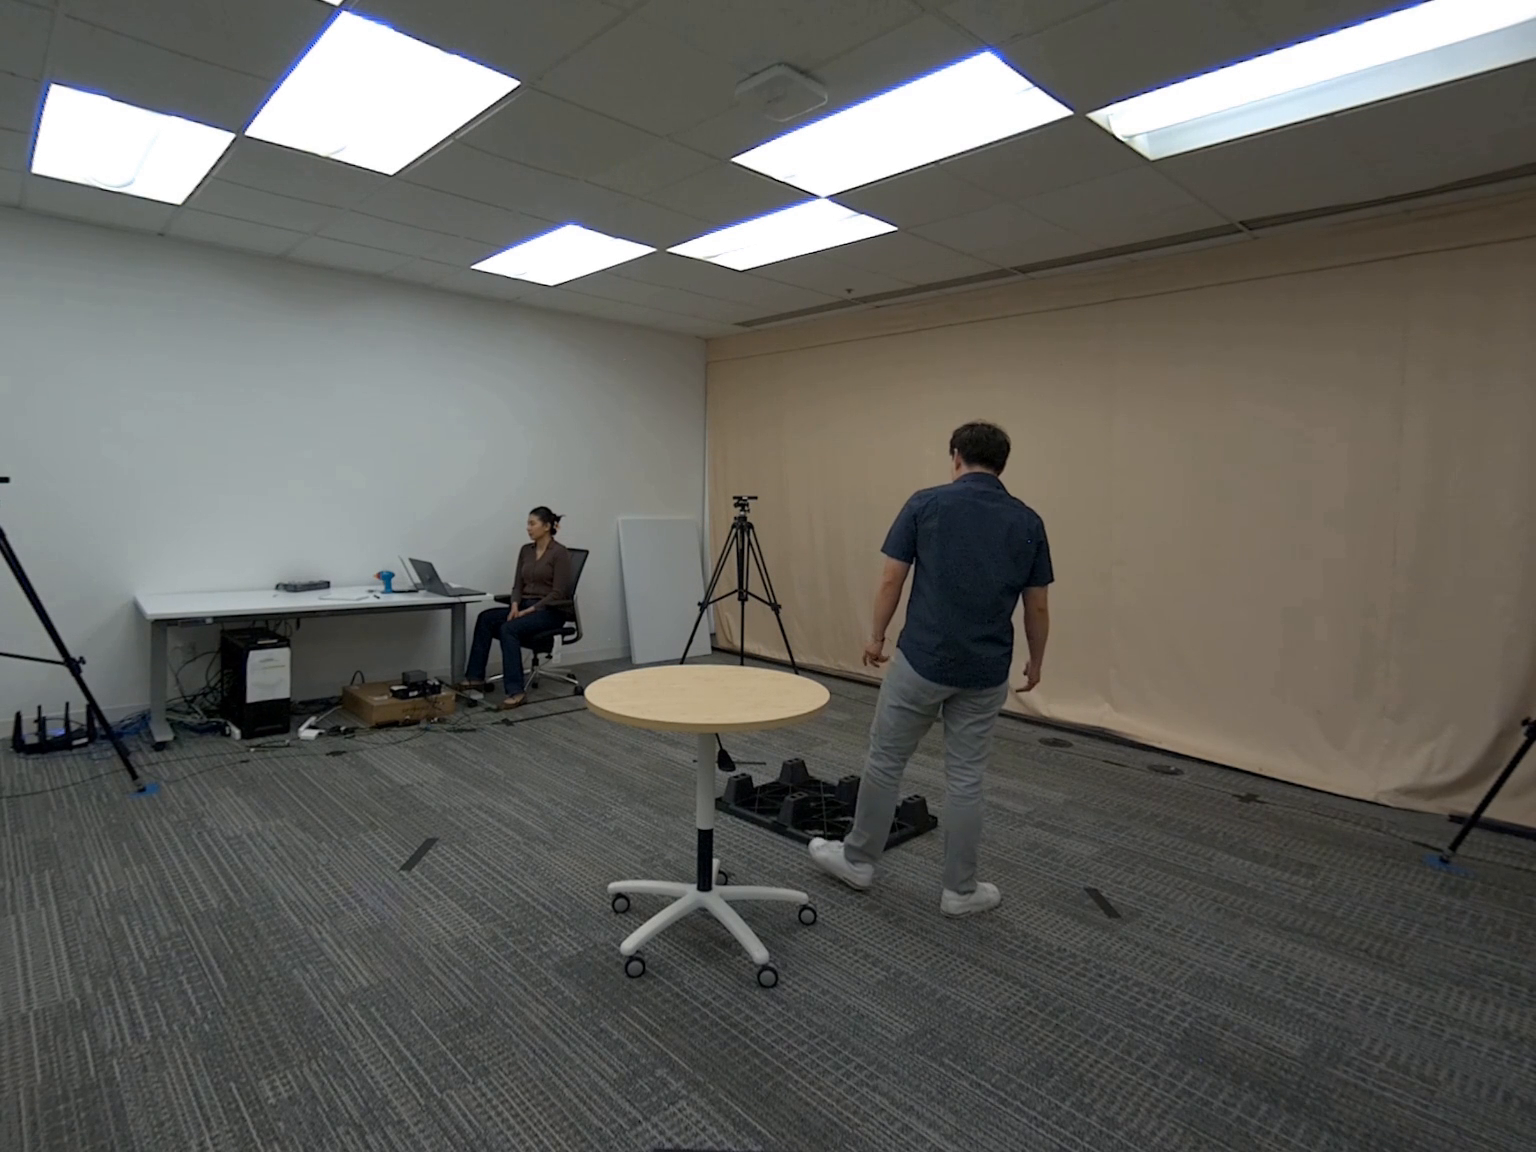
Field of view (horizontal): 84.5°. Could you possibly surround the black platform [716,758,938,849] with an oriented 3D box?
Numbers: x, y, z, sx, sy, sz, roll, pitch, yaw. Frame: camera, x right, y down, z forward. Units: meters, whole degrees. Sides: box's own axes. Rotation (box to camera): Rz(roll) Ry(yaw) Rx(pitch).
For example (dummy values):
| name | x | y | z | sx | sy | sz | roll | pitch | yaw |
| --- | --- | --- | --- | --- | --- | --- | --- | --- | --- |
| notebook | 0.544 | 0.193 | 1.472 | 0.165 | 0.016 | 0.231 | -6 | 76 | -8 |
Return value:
| name | x | y | z | sx | sy | sz | roll | pitch | yaw |
| --- | --- | --- | --- | --- | --- | --- | --- | --- | --- |
| black platform | 0.244 | 0.994 | 3.701 | 0.826 | 0.143 | 0.591 | 6 | 7 | 44 |
